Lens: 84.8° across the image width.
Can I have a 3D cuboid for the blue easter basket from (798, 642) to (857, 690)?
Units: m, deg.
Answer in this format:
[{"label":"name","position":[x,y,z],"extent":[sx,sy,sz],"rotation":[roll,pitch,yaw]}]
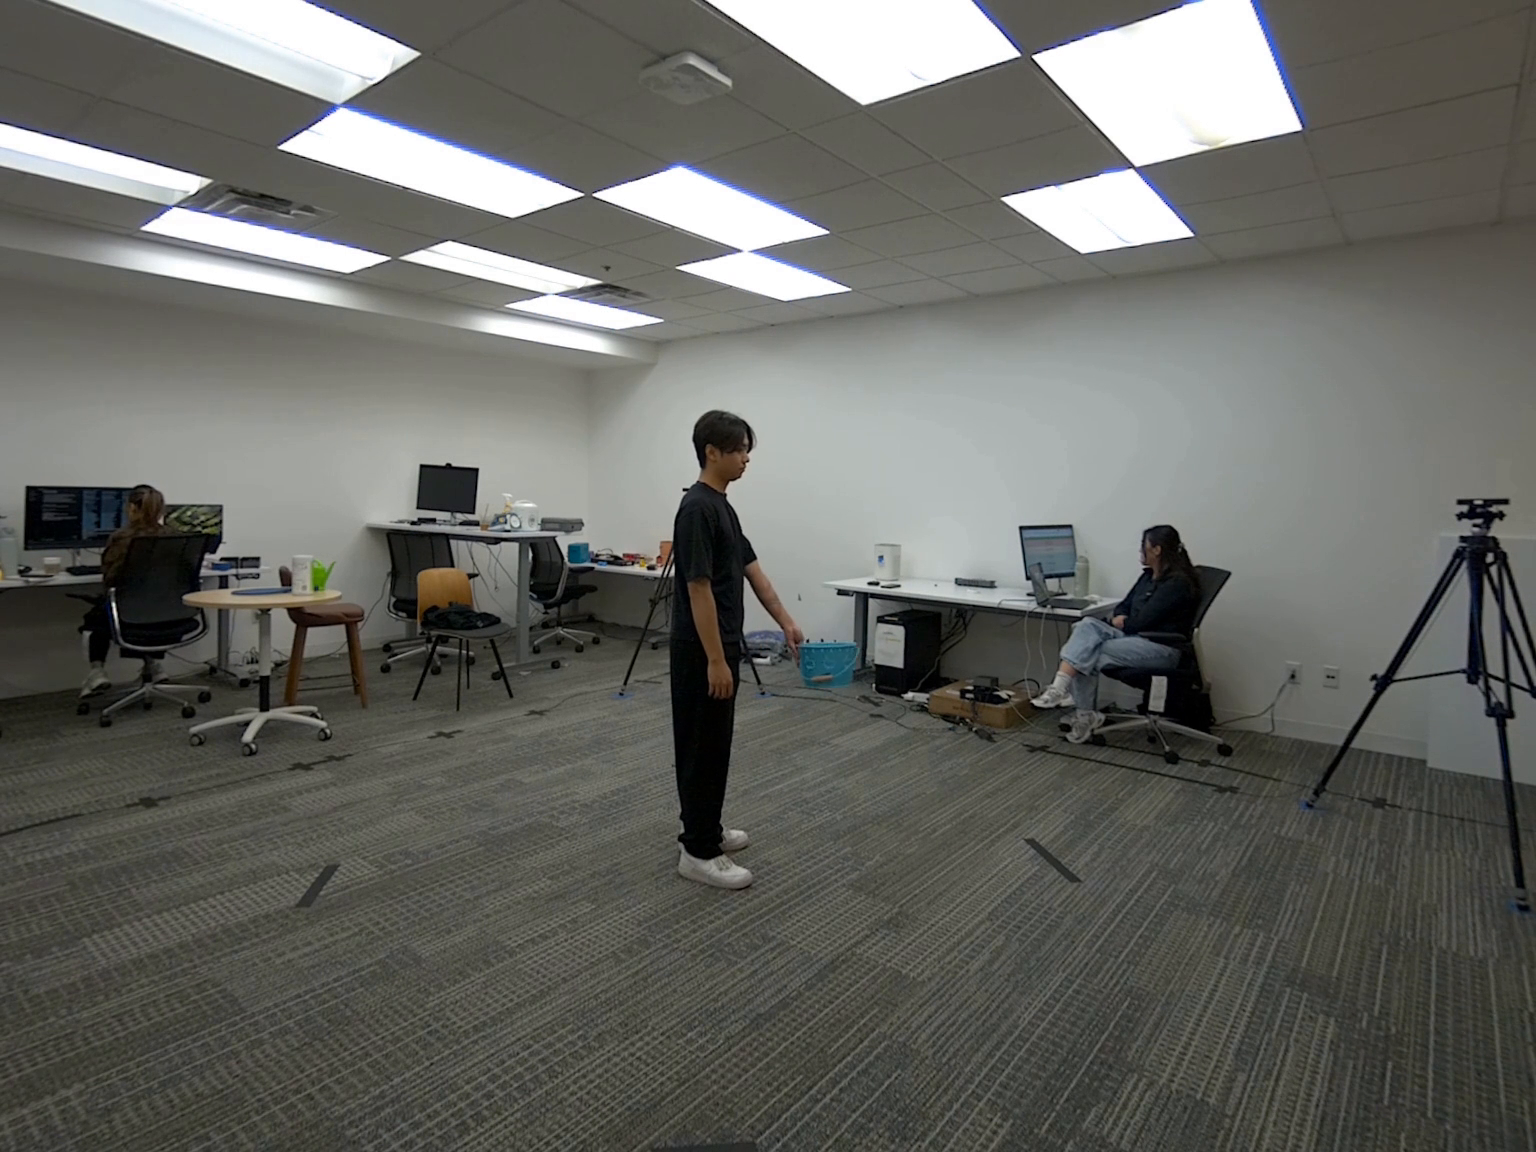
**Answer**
[{"label":"blue easter basket","position":[0.200,0.332,3.206],"extent":[0.243,0.156,0.243],"rotation":[-2,-1,-2]}]
